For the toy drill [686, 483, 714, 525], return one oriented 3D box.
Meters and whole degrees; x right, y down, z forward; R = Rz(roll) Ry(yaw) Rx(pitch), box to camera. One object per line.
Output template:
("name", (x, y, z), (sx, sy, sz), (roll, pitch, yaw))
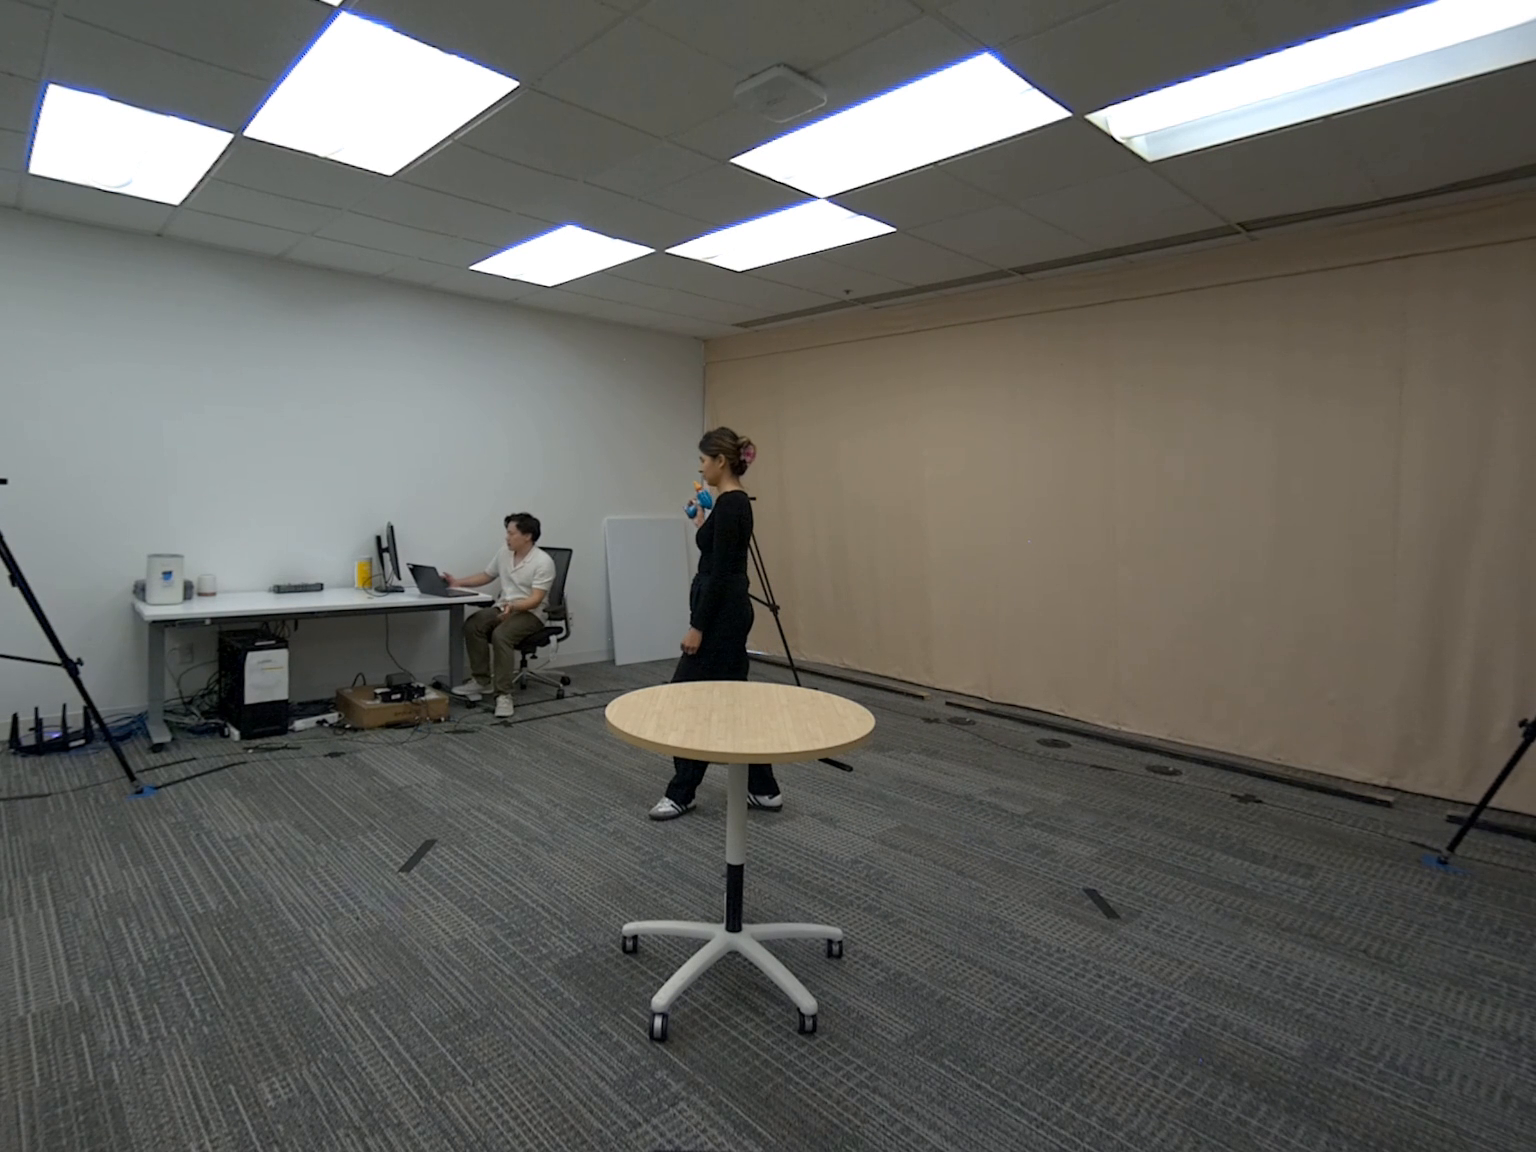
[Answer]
("toy drill", (-0.363, -0.377, 4.065), (0.146, 0.172, 0.060), (-29, -13, 1))
